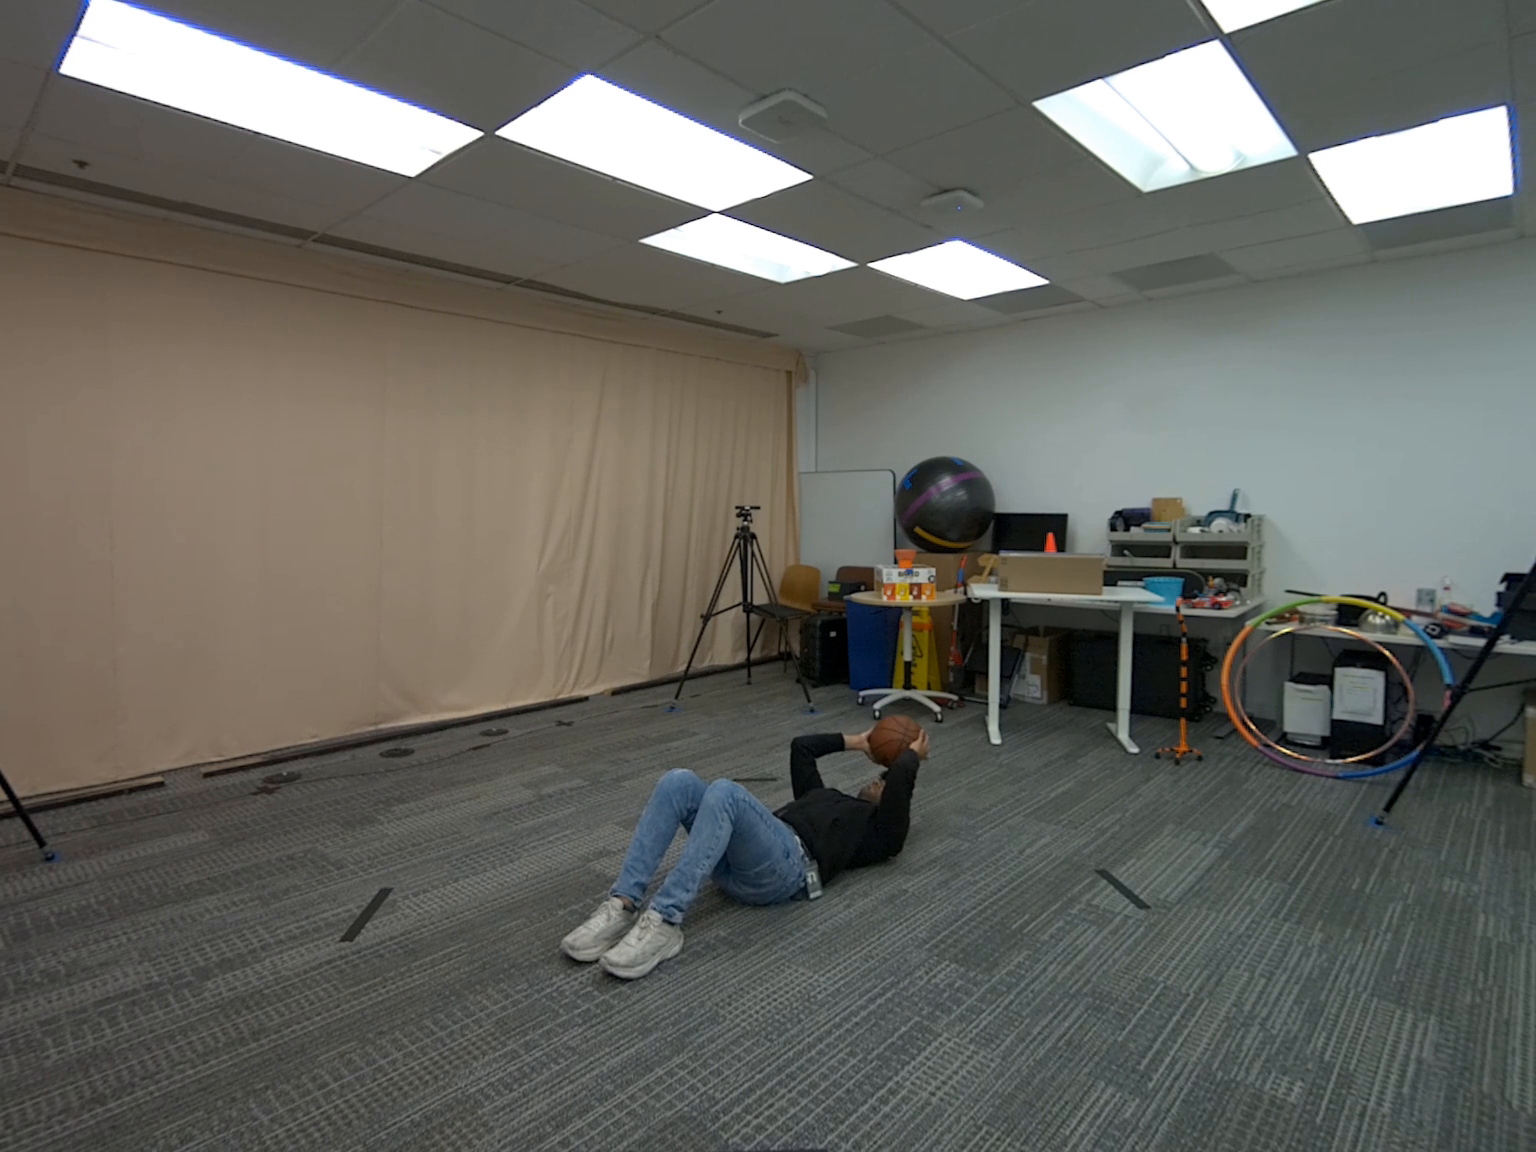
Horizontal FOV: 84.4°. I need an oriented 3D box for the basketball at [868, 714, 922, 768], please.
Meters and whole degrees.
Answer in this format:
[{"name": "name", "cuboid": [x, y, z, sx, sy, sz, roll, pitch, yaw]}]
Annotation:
[{"name": "basketball", "cuboid": [0.561, 0.722, 3.648, 0.236, 0.235, 0.237, 0, 4, -2]}]
